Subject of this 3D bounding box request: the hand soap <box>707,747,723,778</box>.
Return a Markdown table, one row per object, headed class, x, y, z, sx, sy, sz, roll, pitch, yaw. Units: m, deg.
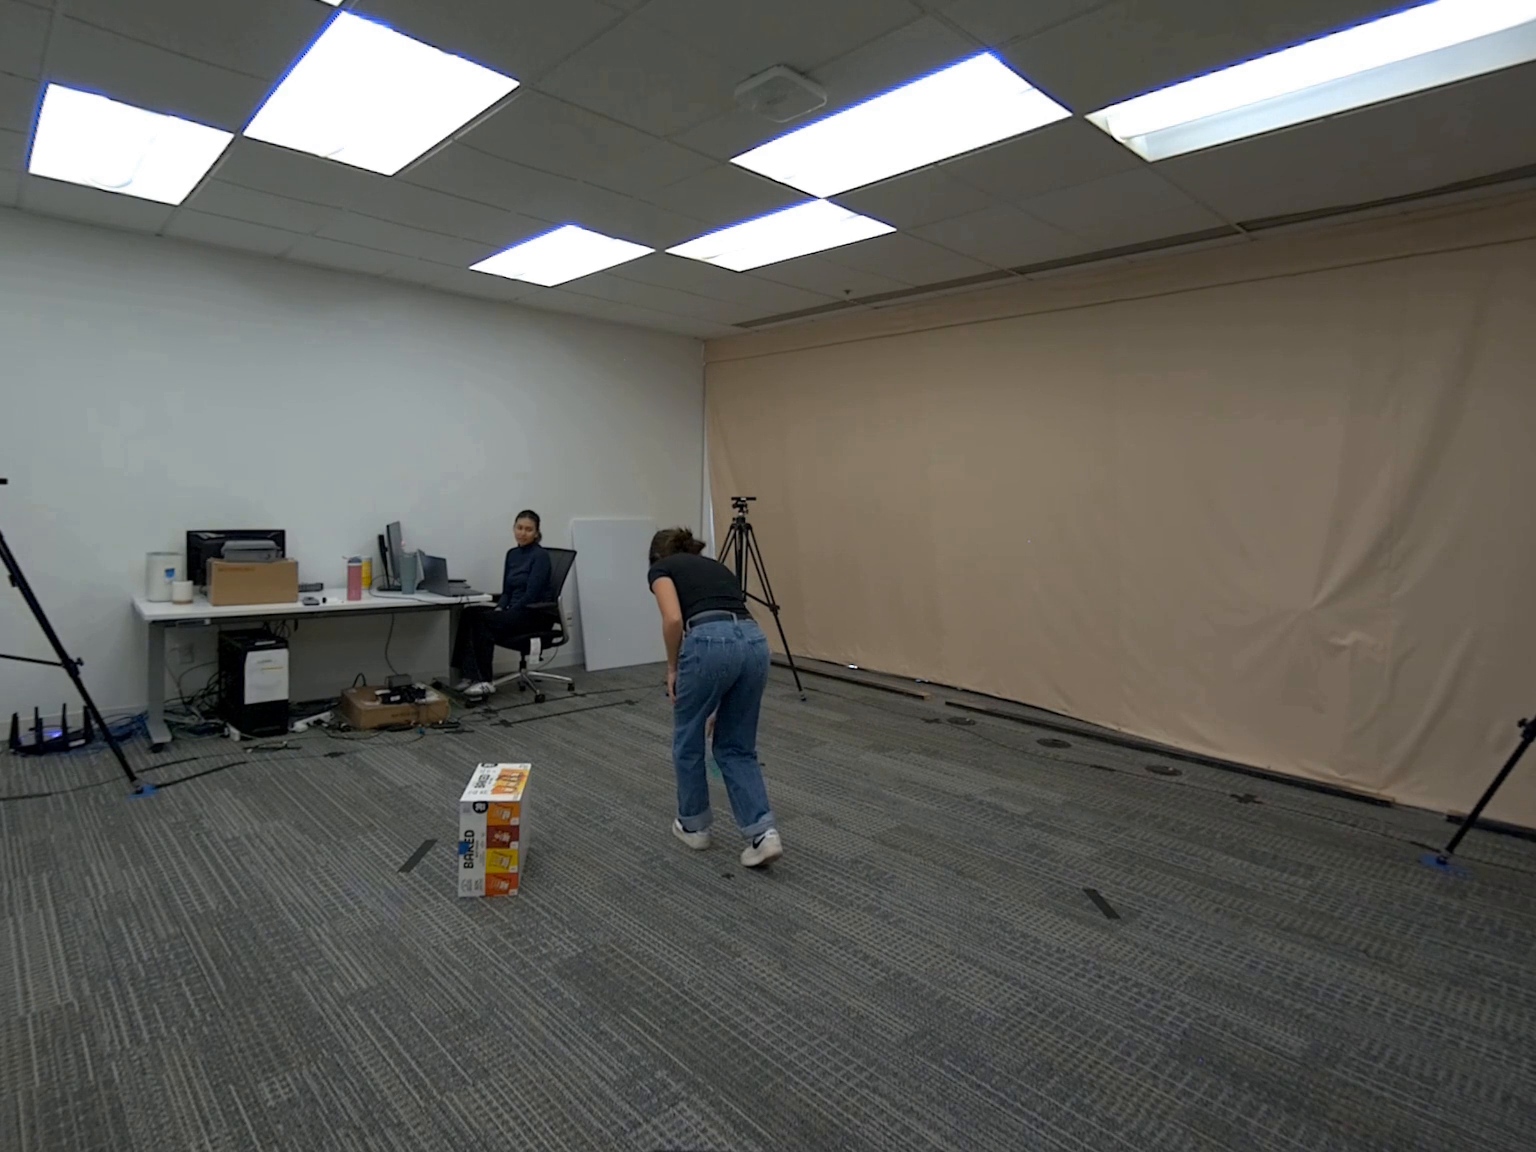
| class | x | y | z | sx | sy | sz | roll | pitch | yaw |
| --- | --- | --- | --- | --- | --- | --- | --- | --- | --- |
| hand soap | -0.211 | 0.745 | 3.538 | 0.085 | 0.167 | 0.043 | 8 | 9 | 14 |
